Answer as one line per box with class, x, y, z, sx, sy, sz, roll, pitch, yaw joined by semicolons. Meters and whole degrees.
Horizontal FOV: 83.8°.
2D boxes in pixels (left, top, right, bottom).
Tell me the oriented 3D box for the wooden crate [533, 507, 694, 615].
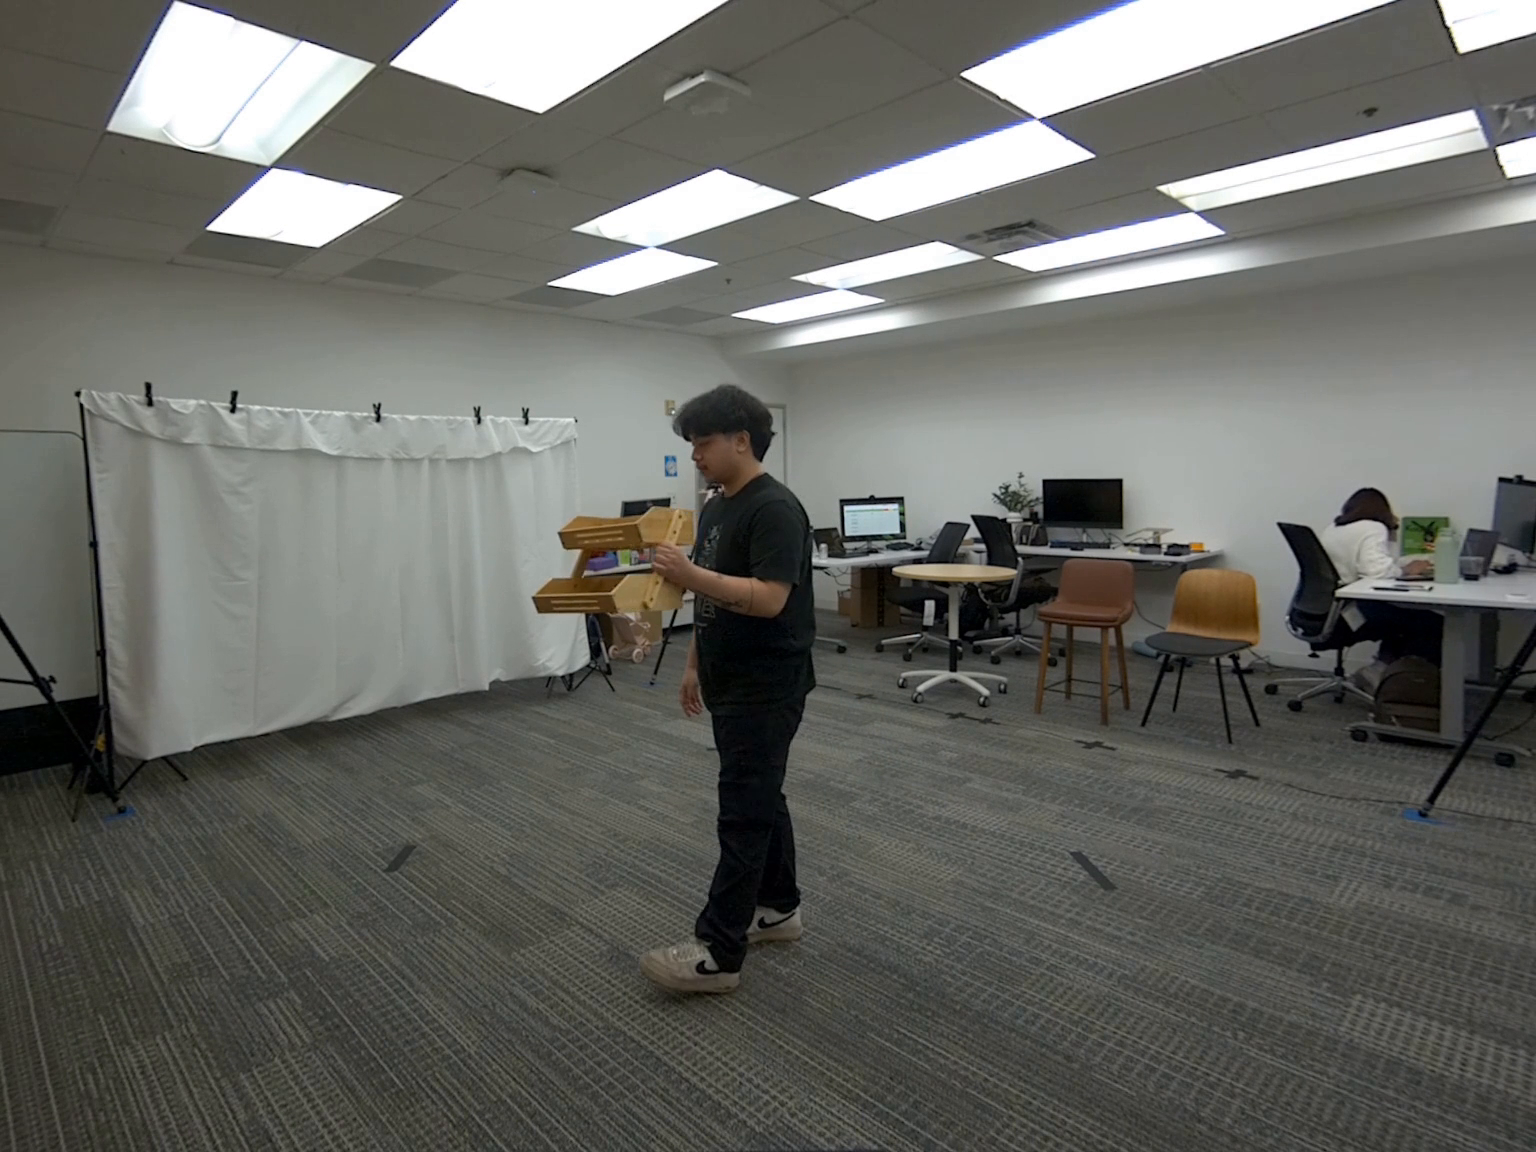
wooden crate;-0.403;-0.043;2.217;0.333;0.274;0.293;-3;-3;37
